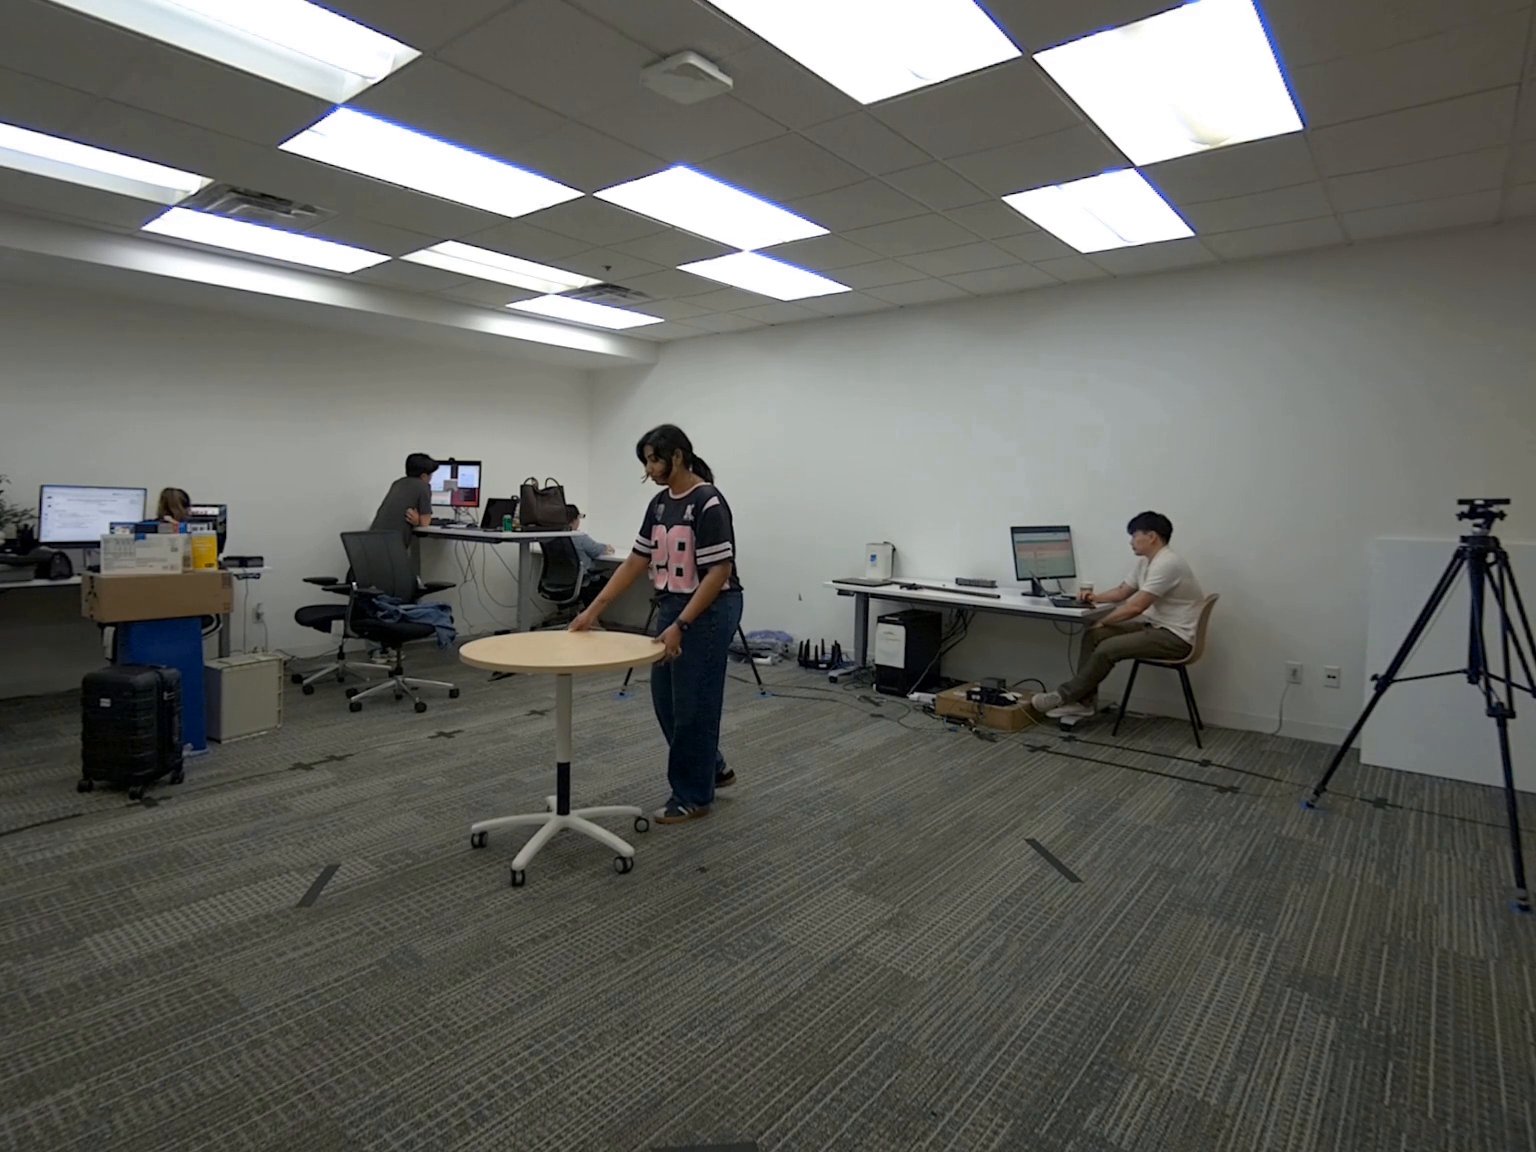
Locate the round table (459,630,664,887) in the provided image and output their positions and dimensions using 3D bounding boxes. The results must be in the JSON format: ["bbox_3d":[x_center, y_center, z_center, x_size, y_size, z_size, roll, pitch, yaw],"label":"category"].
[{"bbox_3d":[-0.779,0.655,3.230,0.784,0.784,0.789,0,4,-2],"label":"round table"}]
